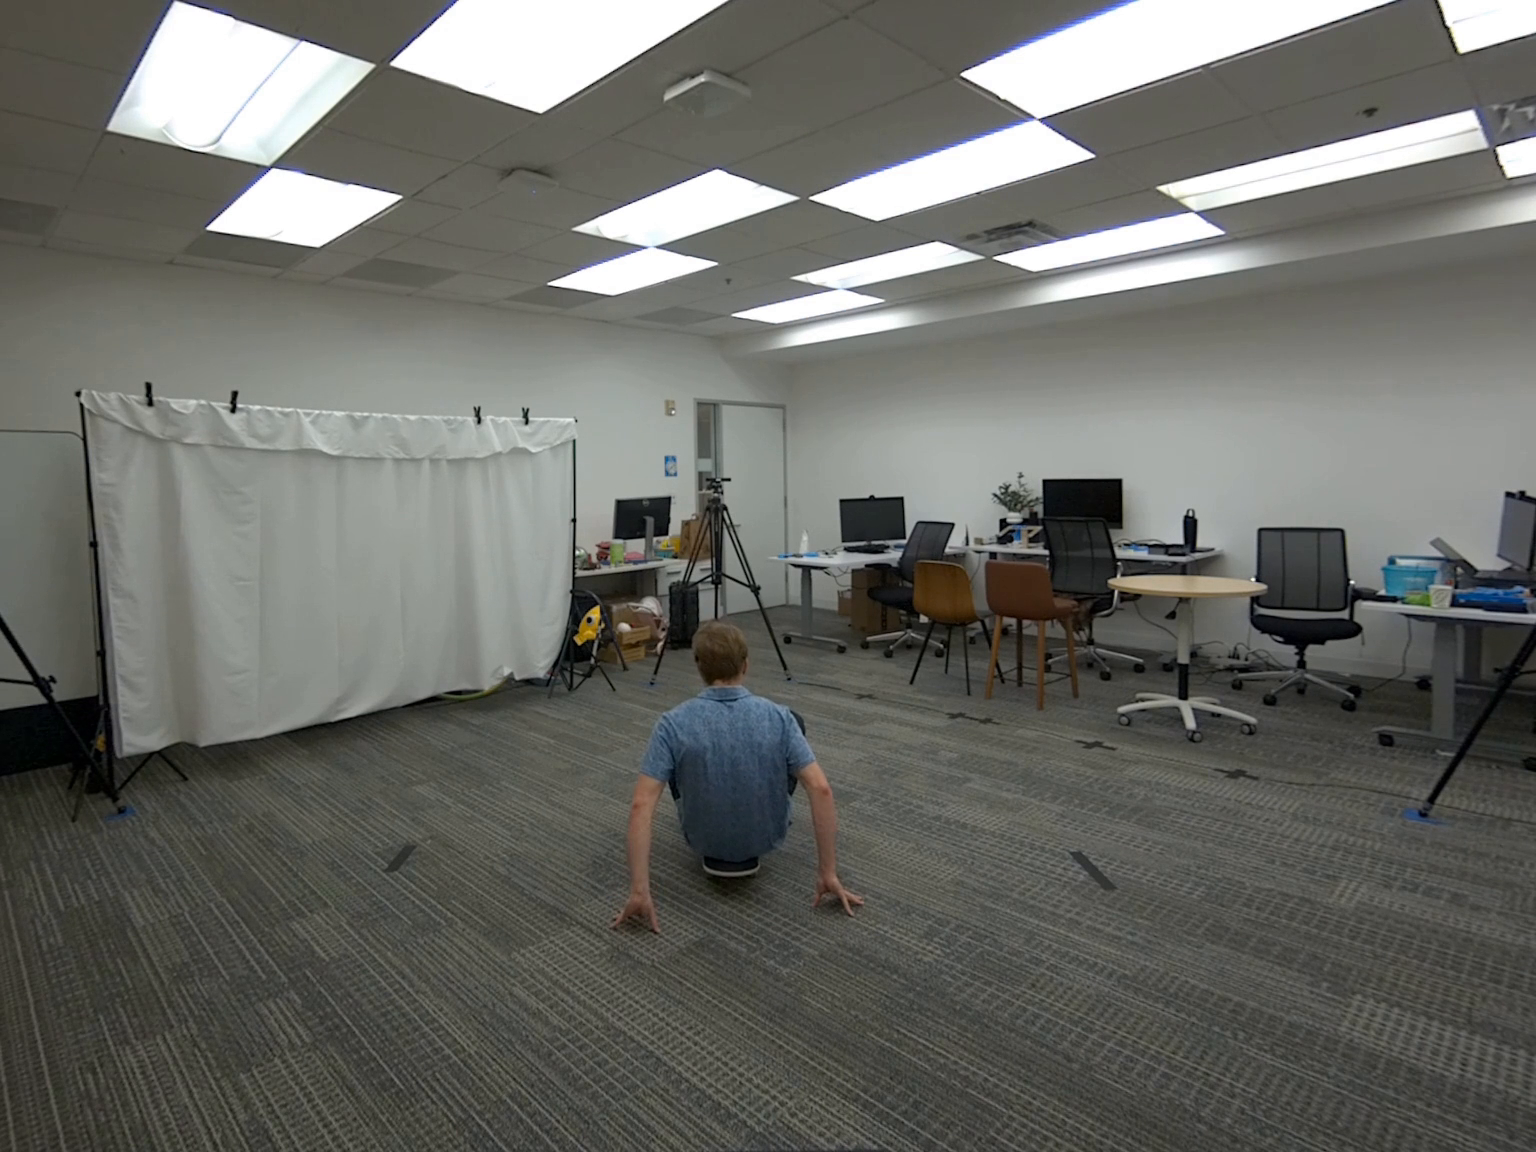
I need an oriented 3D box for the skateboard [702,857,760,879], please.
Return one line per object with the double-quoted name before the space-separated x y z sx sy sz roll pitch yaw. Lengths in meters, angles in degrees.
"skateboard" -0.145 0.984 3.209 0.193 0.109 0.791 -2 8 -2
